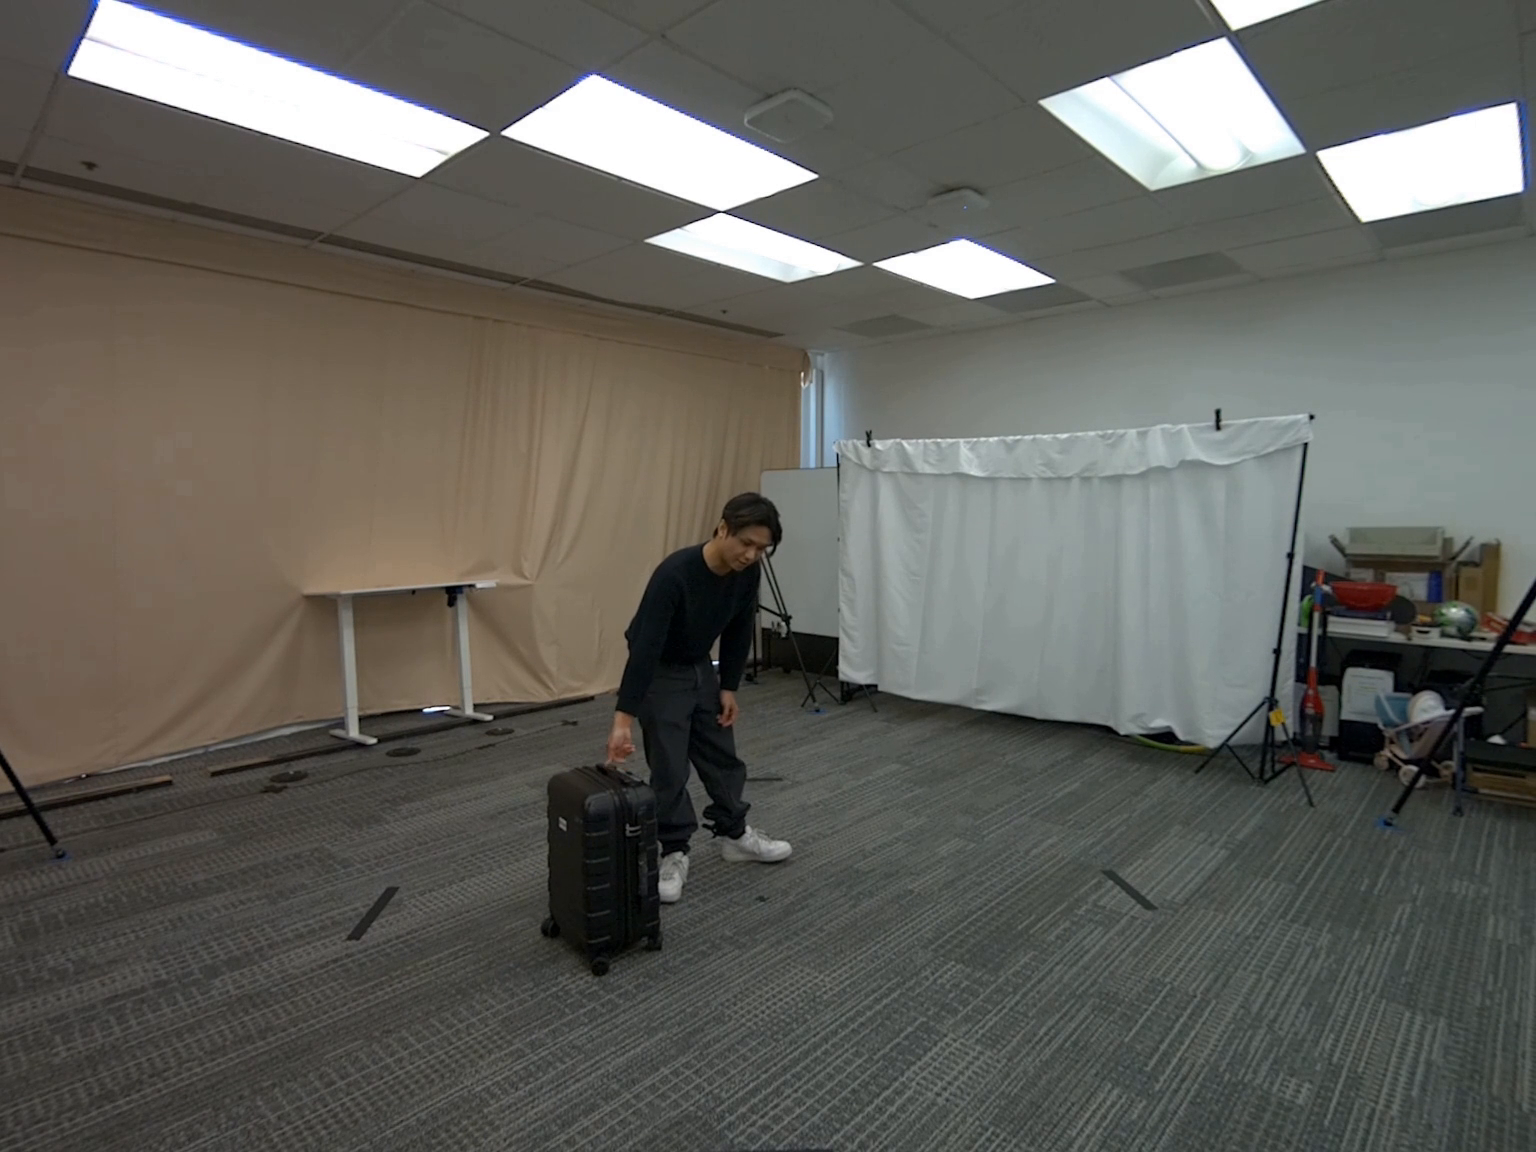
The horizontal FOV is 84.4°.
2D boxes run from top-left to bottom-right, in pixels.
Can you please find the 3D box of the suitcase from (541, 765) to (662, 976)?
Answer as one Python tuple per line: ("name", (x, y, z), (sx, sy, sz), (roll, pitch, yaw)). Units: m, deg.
("suitcase", (-0.535, 0.895, 2.667), (0.241, 0.548, 0.387), (-2, 4, -34))
